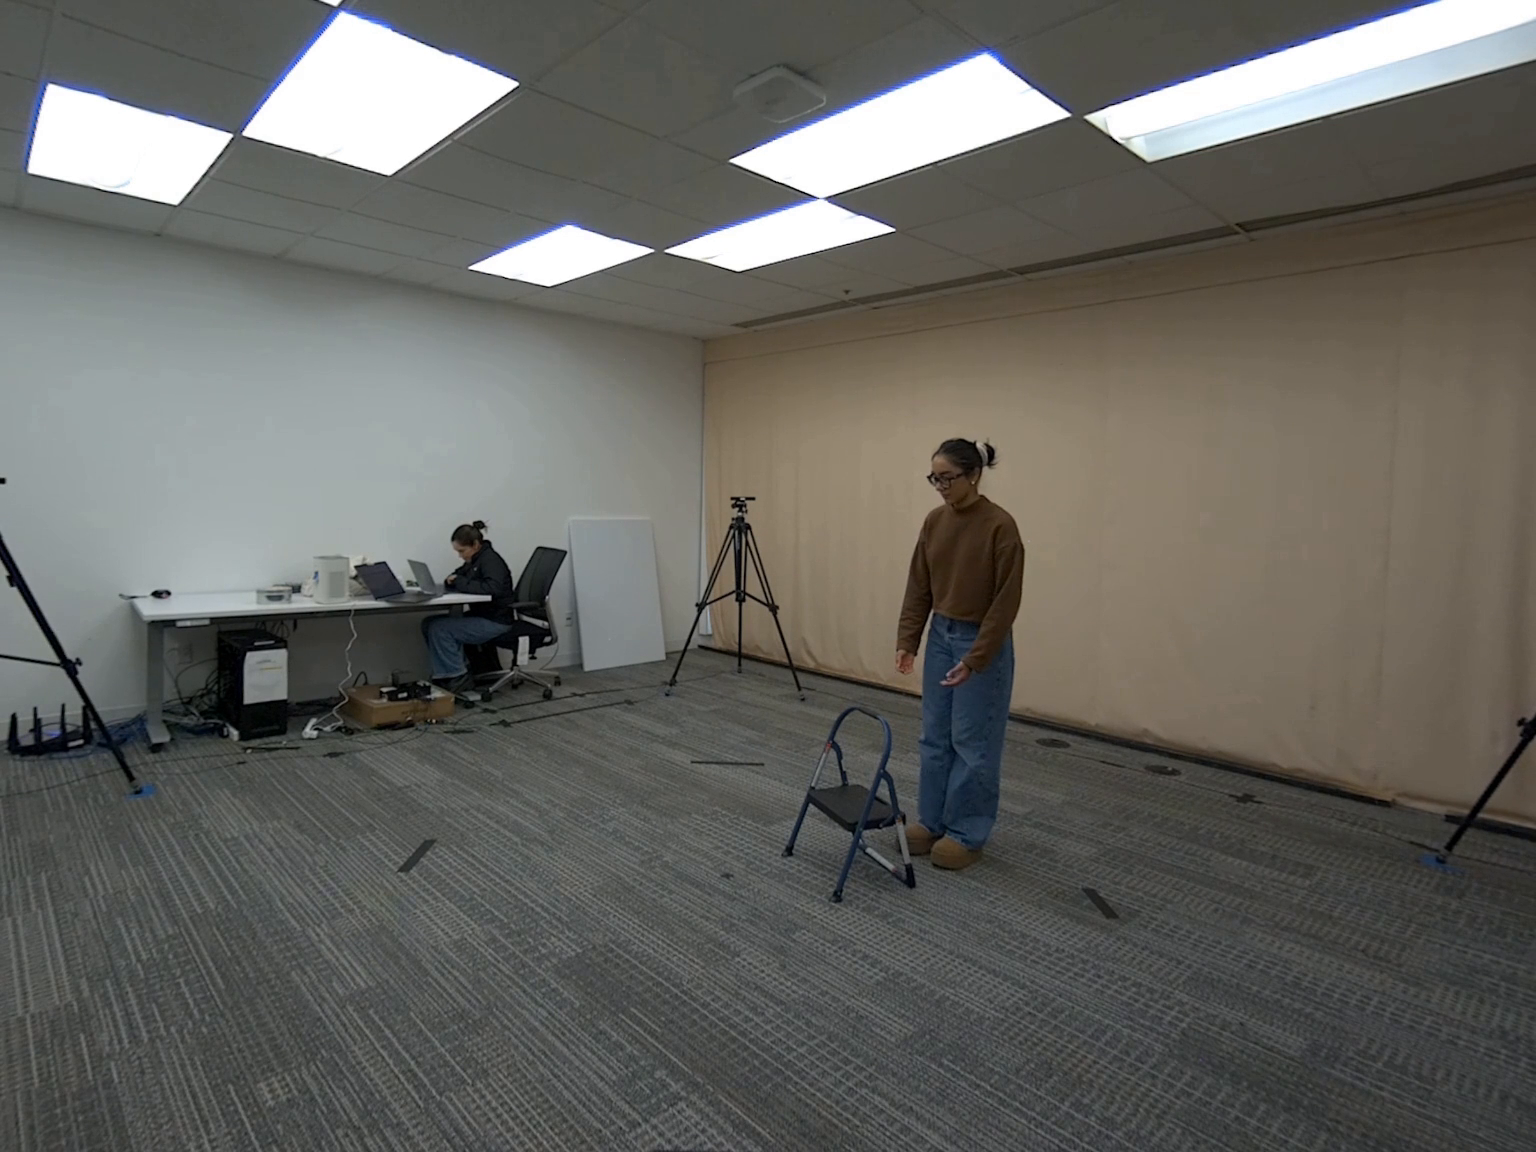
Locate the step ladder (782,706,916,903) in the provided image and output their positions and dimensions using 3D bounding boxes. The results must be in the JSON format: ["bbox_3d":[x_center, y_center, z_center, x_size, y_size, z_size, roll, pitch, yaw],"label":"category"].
[{"bbox_3d":[0.298,0.808,3.151,0.343,0.604,0.439,0,4,-23],"label":"step ladder"}]
